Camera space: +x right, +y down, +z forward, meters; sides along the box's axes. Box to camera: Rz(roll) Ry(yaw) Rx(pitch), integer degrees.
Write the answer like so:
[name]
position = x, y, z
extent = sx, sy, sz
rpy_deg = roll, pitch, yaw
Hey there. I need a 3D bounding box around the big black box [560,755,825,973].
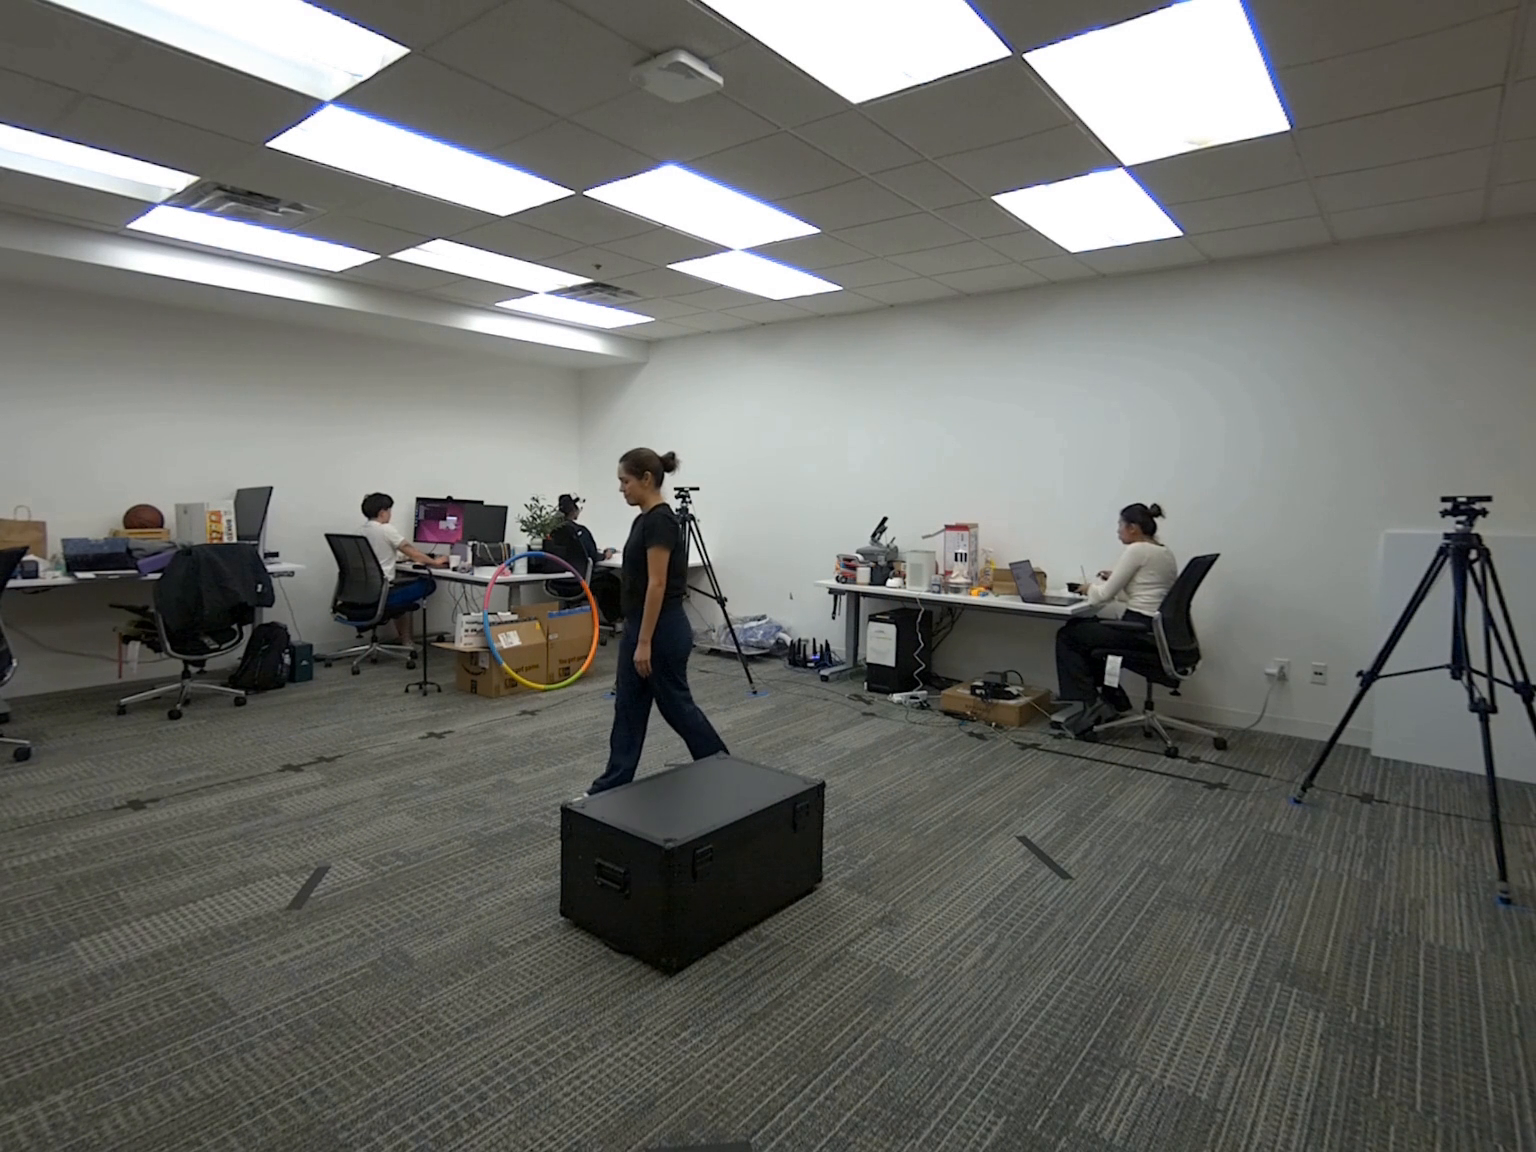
[big black box]
position = -0.198, 0.900, 2.863
extent = 0.539, 0.395, 0.837
rpy_deg = 5, 7, 38
